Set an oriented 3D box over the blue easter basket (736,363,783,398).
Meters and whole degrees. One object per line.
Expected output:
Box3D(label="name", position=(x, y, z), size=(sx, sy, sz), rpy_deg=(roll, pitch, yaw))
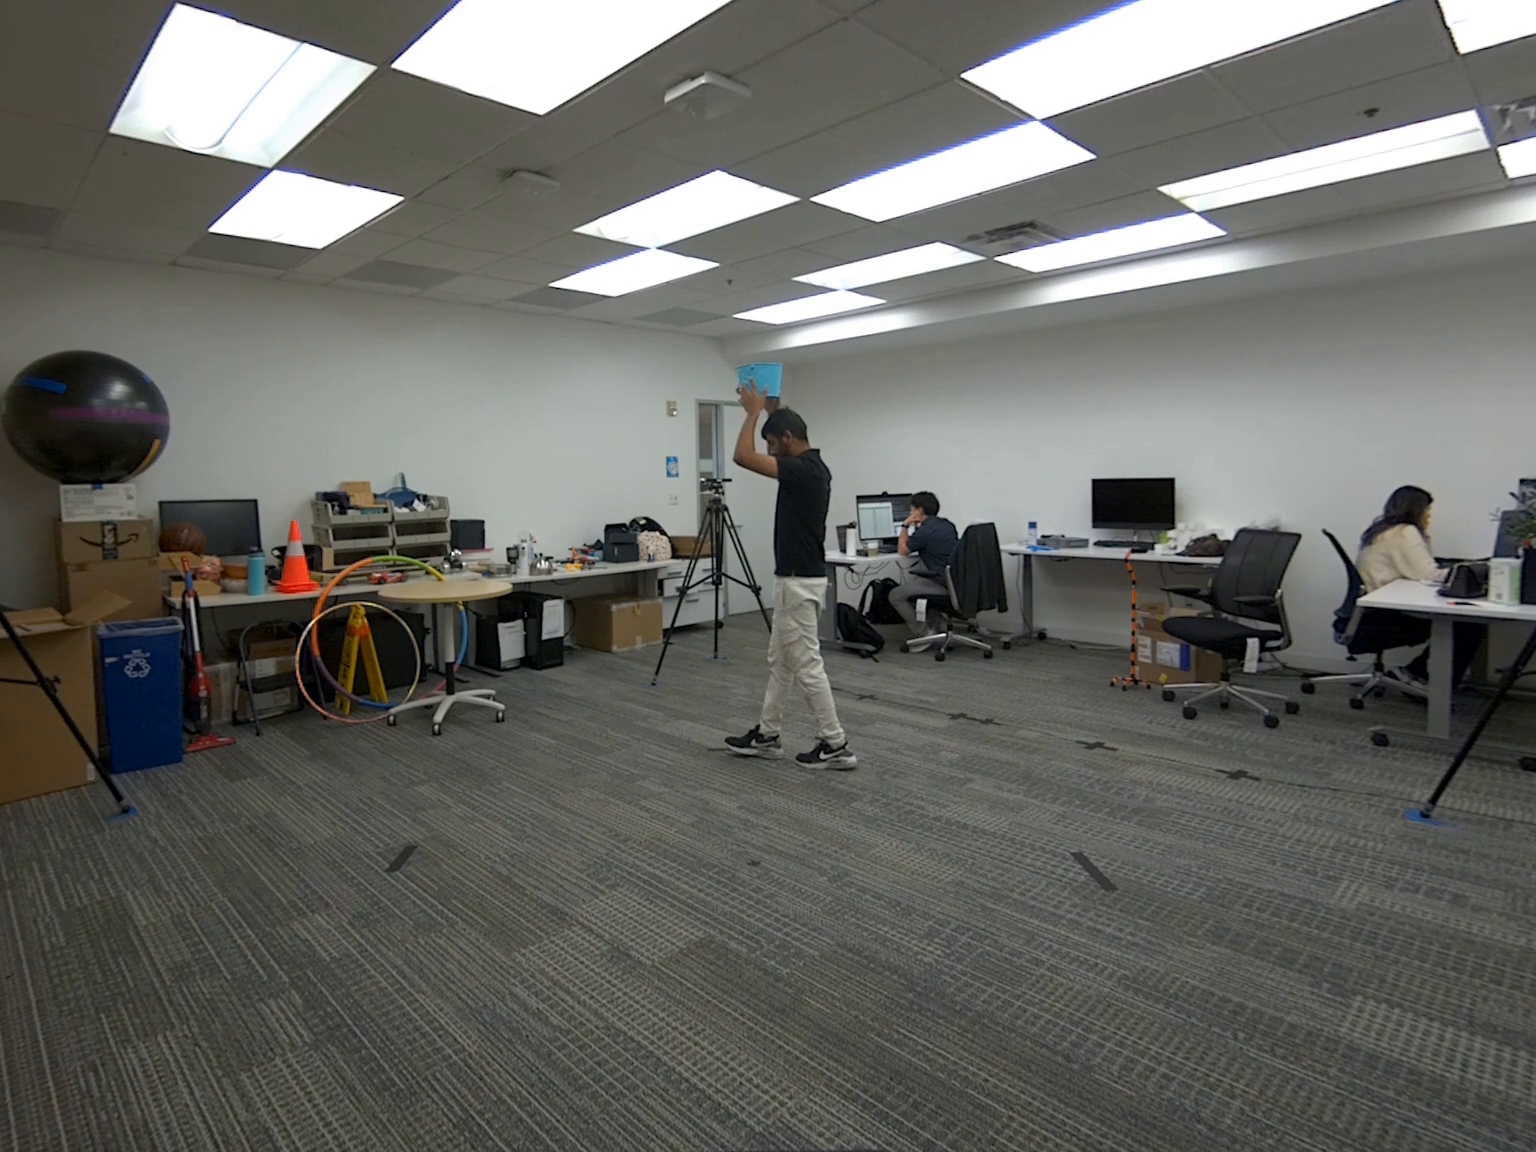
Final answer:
Box3D(label="blue easter basket", position=(-0.041, -0.947, 4.173), size=(0.243, 0.155, 0.244), rpy_deg=(-3, 4, -1))
